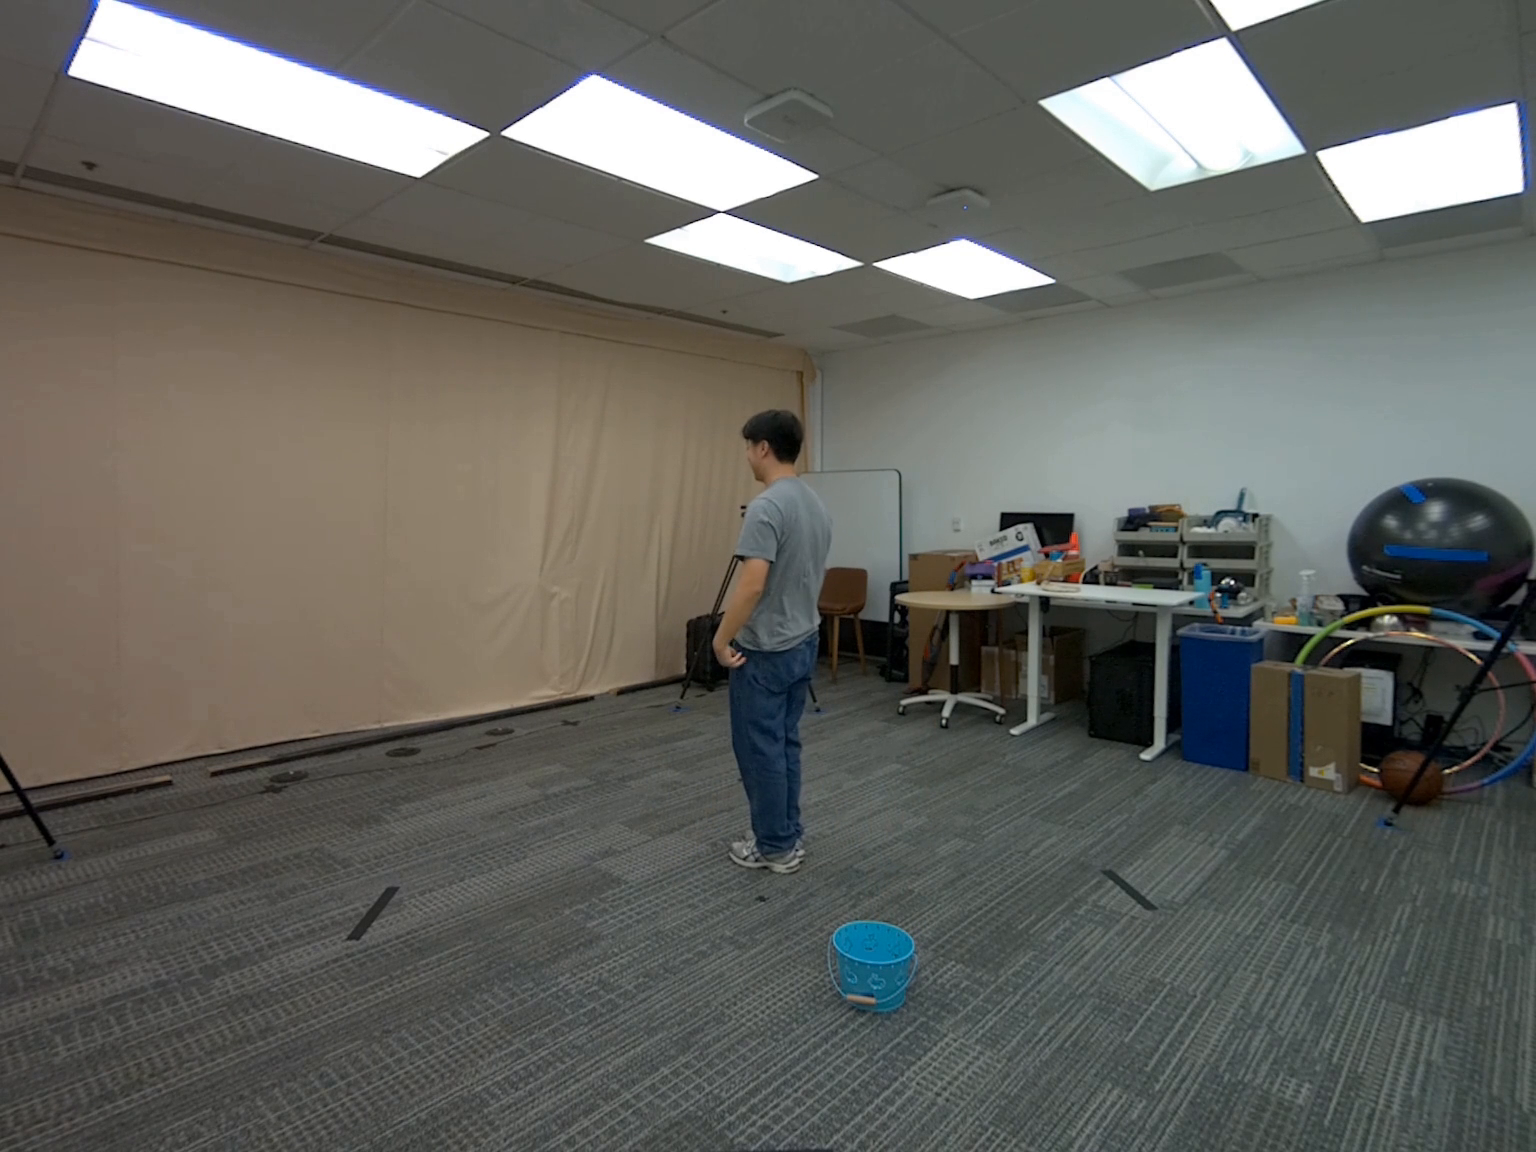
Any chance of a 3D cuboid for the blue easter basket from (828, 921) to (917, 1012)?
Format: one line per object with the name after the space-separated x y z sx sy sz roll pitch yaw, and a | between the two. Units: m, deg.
0.307 1.117 2.392 0.243 0.155 0.244 0 4 -2 | blue easter basket
